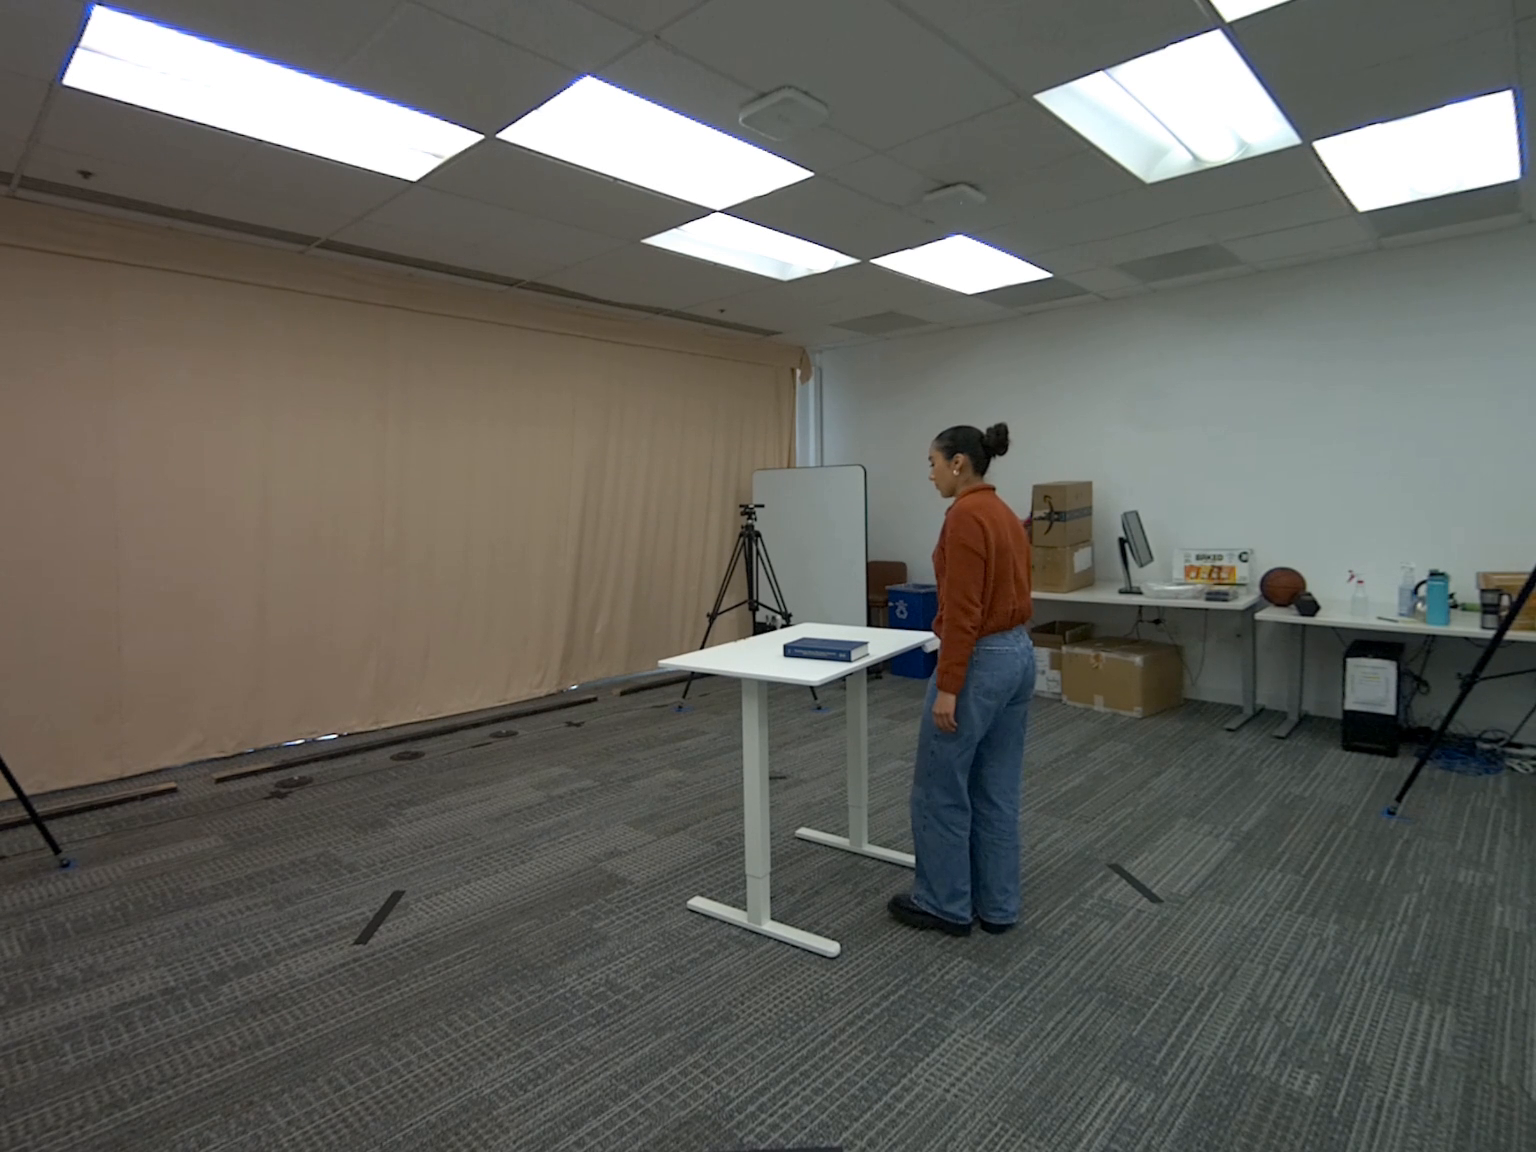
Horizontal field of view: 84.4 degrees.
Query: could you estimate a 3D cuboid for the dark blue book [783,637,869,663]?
[{"bbox_3d":[0.198,0.247,2.826,0.252,0.045,0.159,2,6,29],"label":"dark blue book"}]
